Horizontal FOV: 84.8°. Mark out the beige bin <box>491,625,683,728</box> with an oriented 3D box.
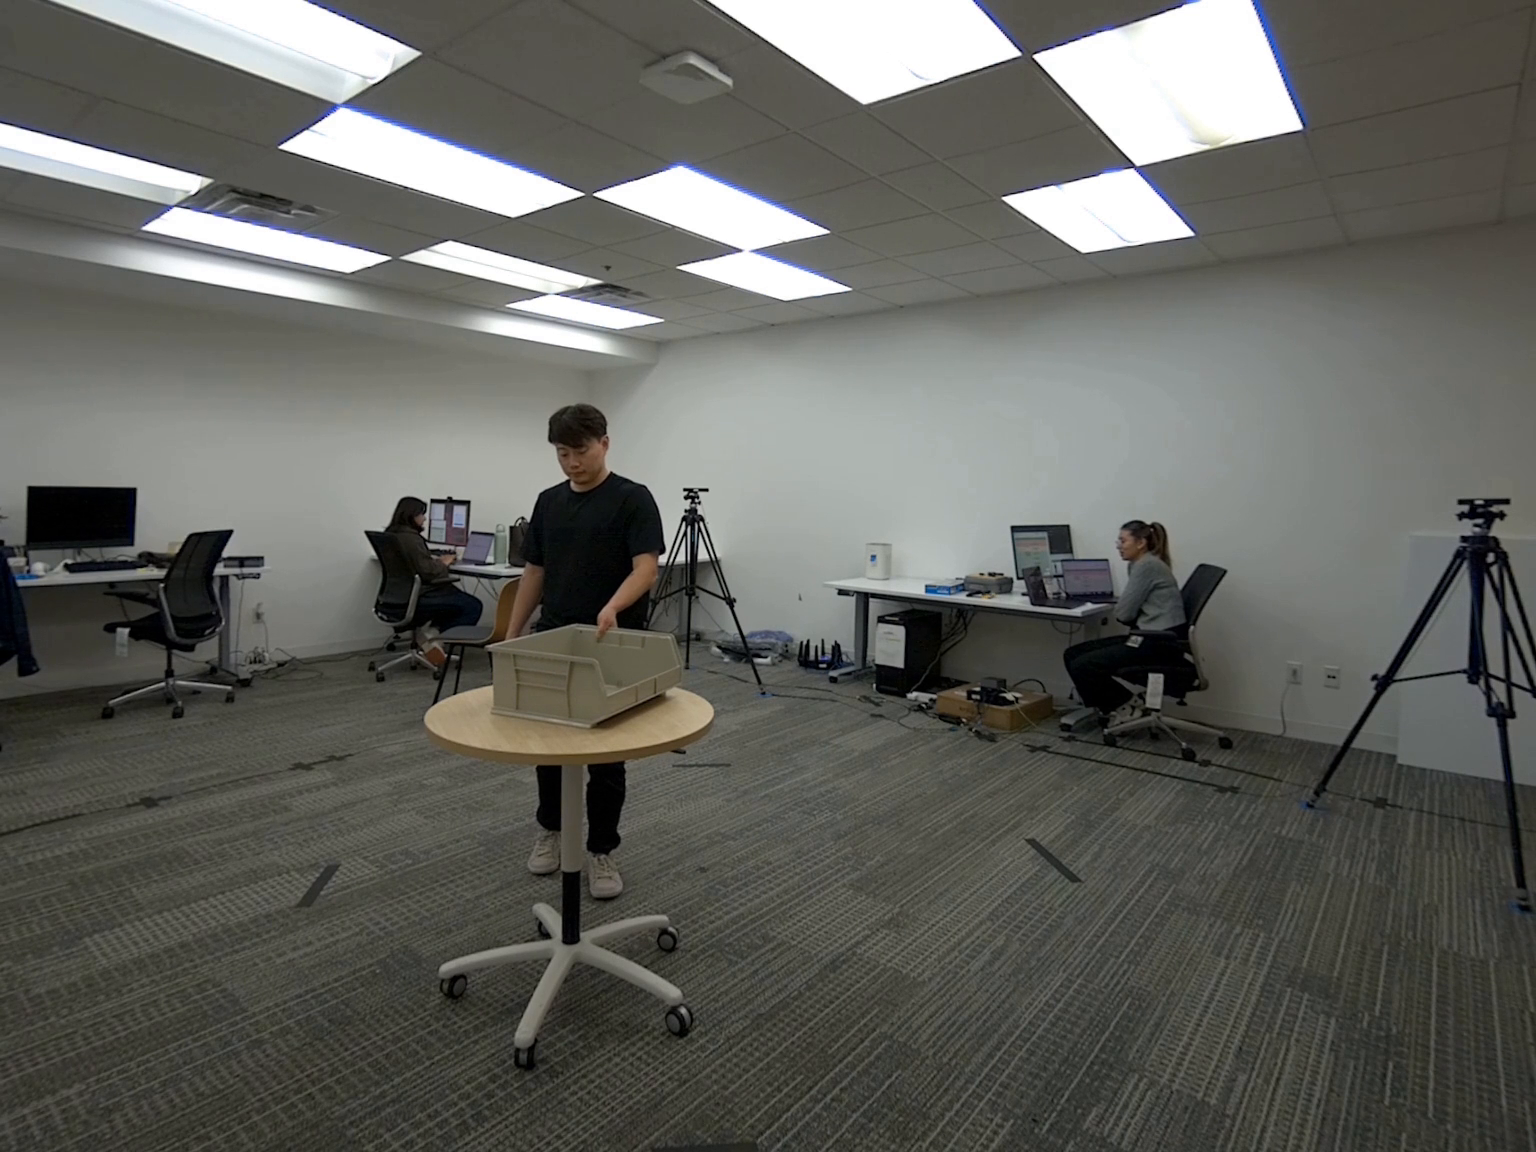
[{"bbox_3d":[-0.504,0.267,2.354,0.386,0.188,0.414,1,6,22],"label":"beige bin"}]
